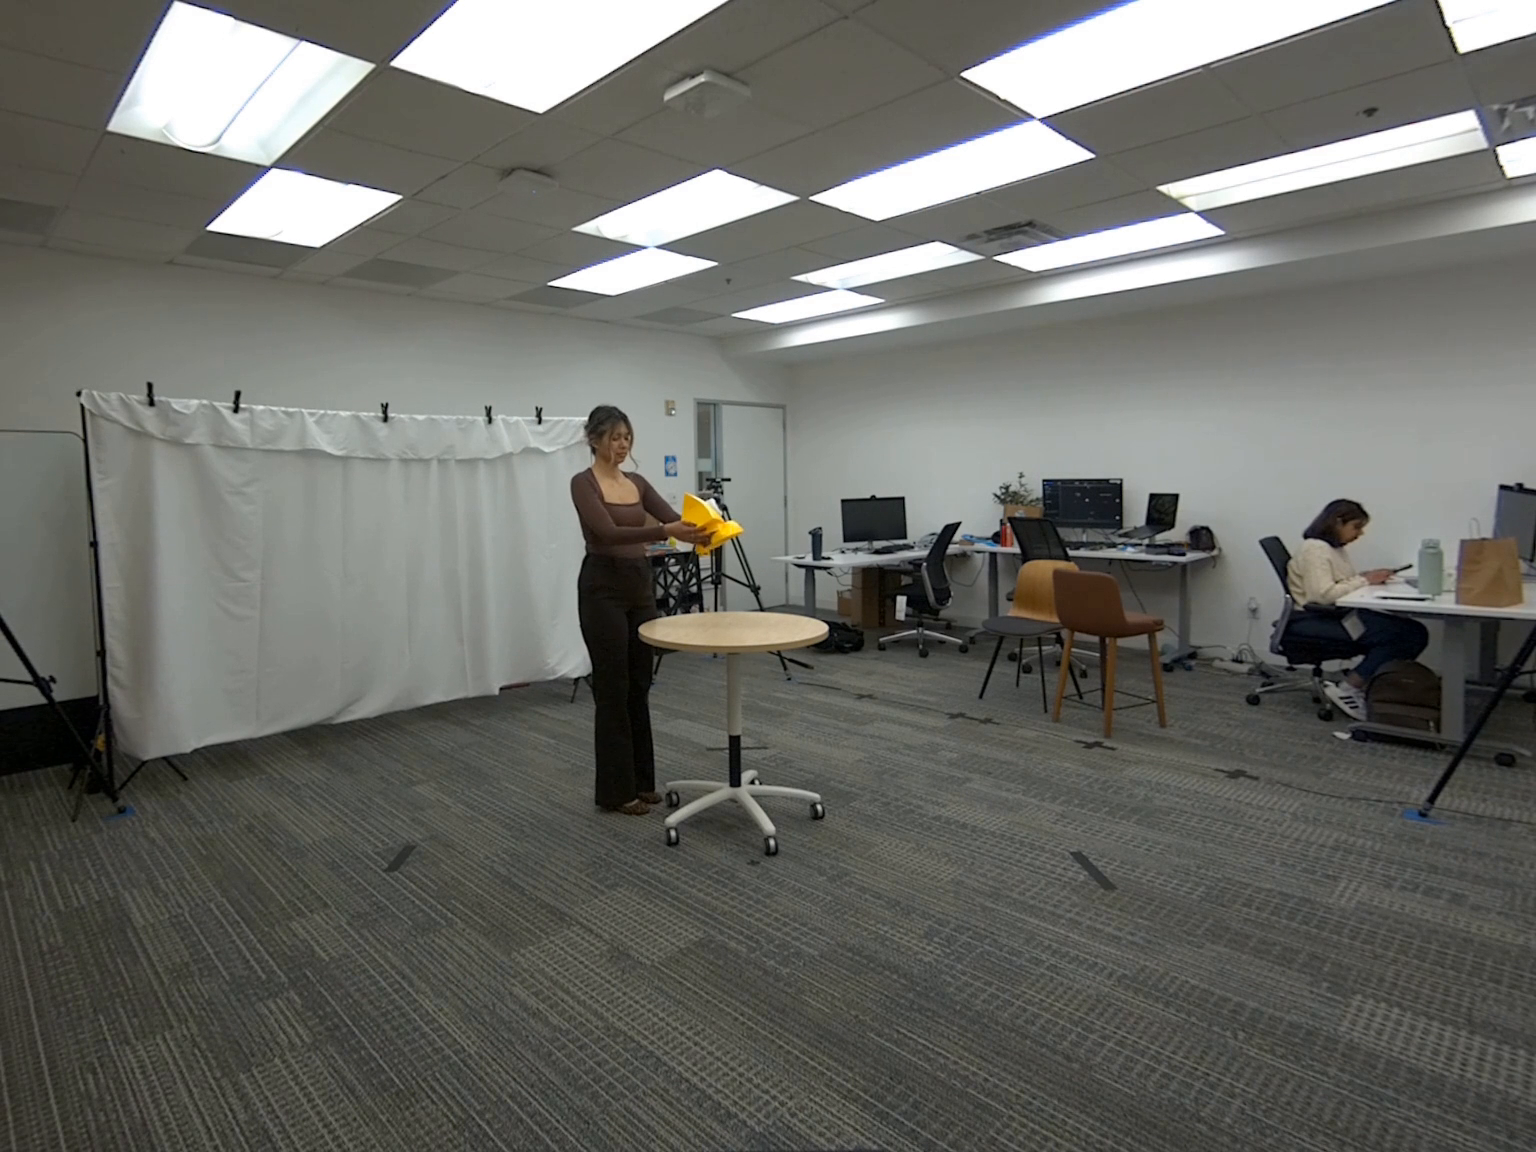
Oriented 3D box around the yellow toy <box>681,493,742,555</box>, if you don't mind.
[{"bbox_3d":[-0.240,-0.235,3.367,0.207,0.232,0.189,-29,-7,39],"label":"yellow toy"}]
